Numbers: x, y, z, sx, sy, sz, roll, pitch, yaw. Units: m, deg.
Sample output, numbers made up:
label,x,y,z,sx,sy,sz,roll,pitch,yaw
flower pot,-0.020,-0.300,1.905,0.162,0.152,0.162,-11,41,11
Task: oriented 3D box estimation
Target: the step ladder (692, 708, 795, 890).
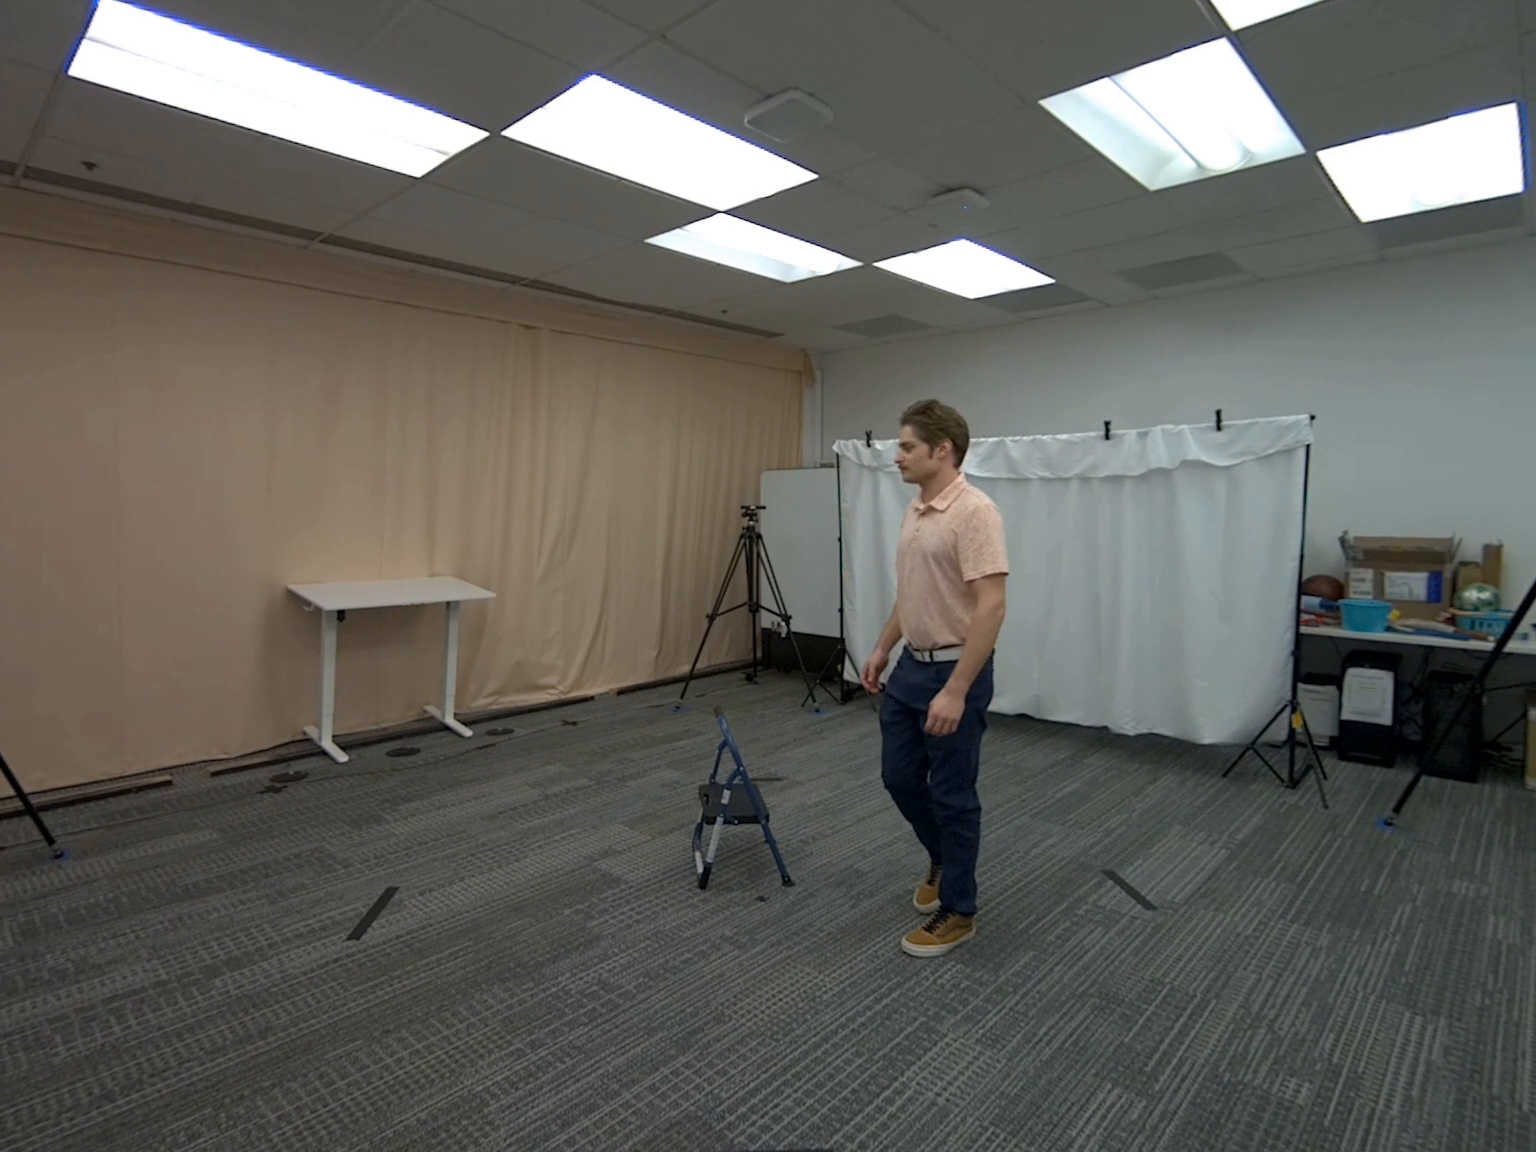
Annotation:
label,x,y,z,sx,sy,sz,roll,pitch,yaw
step ladder,-0.112,0.820,3.260,0.346,0.605,0.435,-1,3,-9
